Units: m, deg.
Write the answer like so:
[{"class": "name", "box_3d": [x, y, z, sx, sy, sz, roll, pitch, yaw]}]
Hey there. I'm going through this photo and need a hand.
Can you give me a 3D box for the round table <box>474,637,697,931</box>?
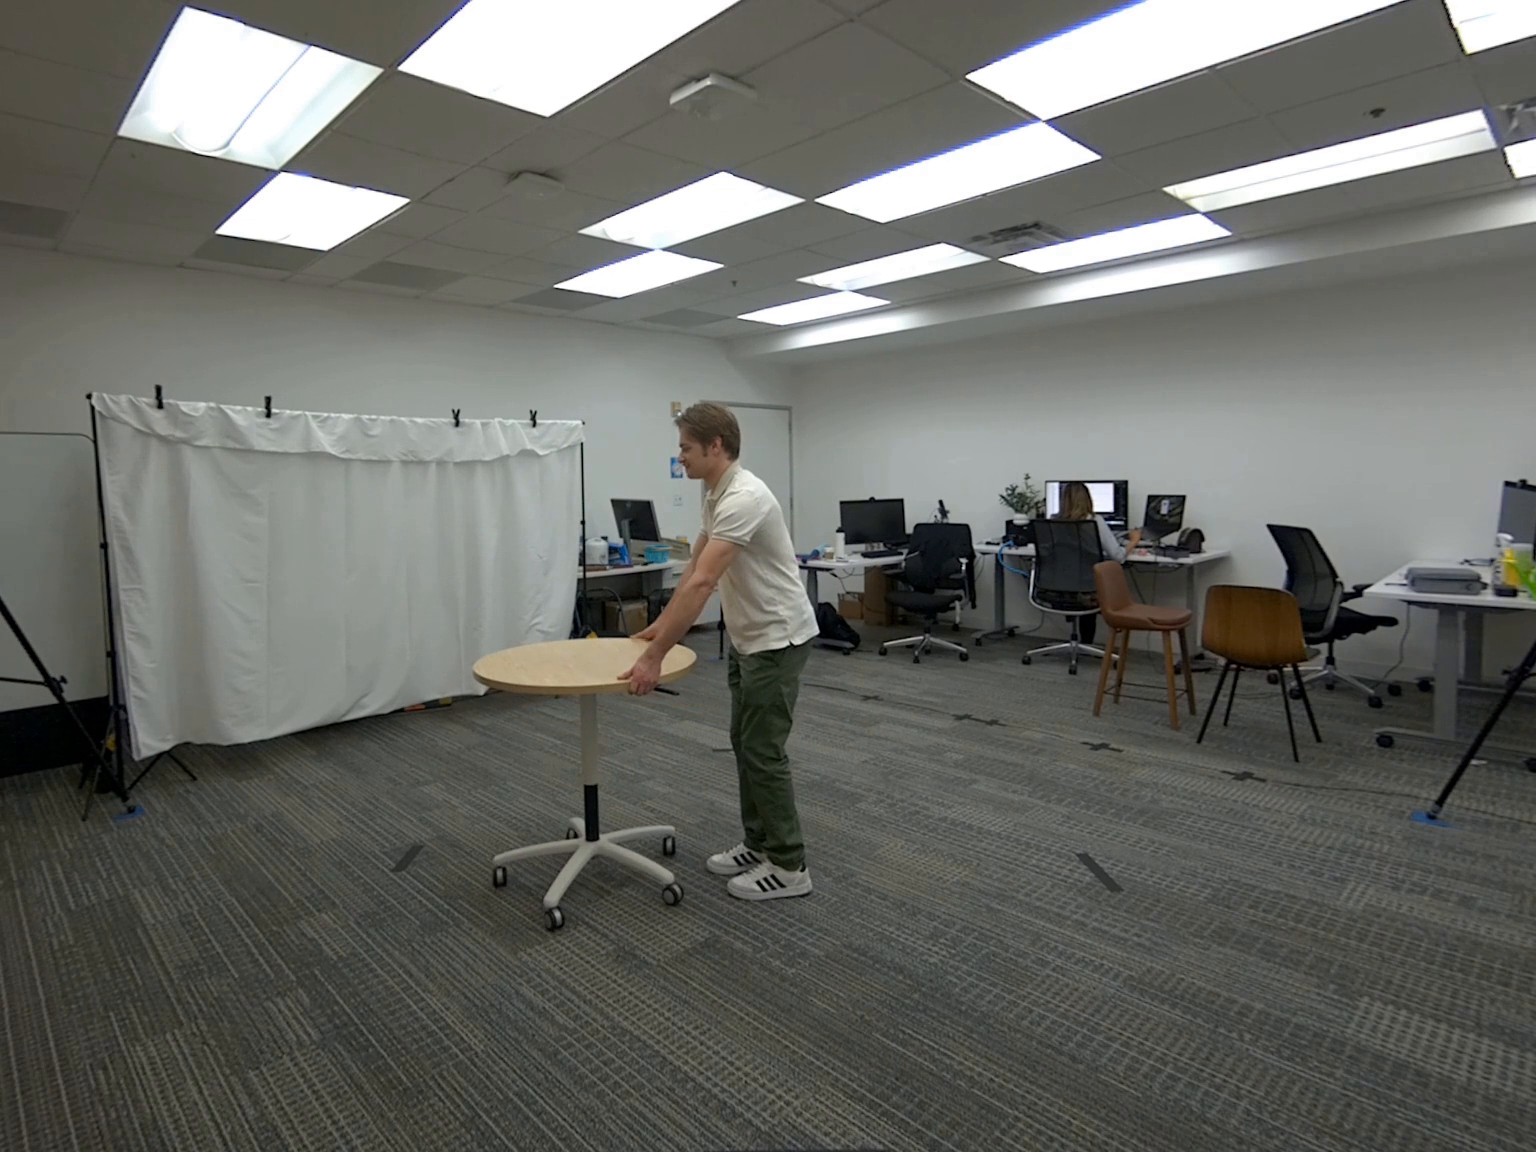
[{"class": "round table", "box_3d": [-0.614, 0.679, 3.000, 0.763, 0.791, 0.768, -2, 5, -2]}]
